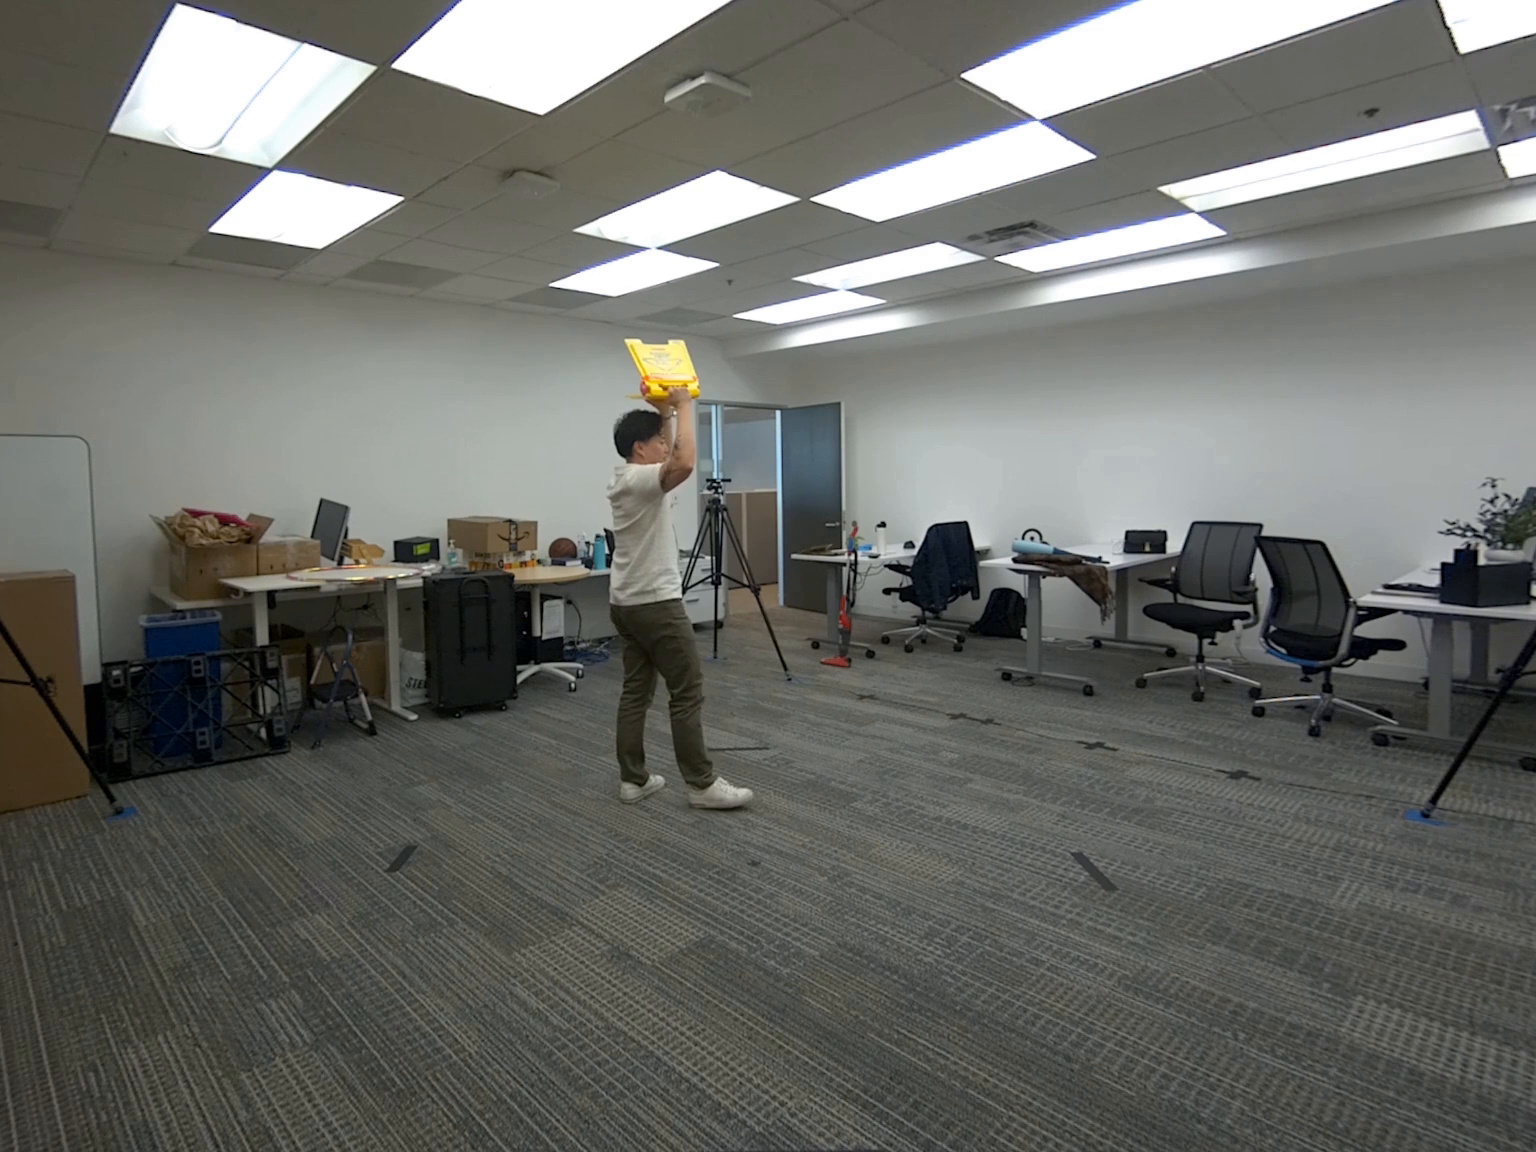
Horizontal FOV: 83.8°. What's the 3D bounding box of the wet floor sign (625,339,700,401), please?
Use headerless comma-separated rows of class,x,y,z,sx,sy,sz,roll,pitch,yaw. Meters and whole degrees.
wet floor sign,-0.451,-0.851,3.716,0.279,0.285,0.664,-2,21,-12
